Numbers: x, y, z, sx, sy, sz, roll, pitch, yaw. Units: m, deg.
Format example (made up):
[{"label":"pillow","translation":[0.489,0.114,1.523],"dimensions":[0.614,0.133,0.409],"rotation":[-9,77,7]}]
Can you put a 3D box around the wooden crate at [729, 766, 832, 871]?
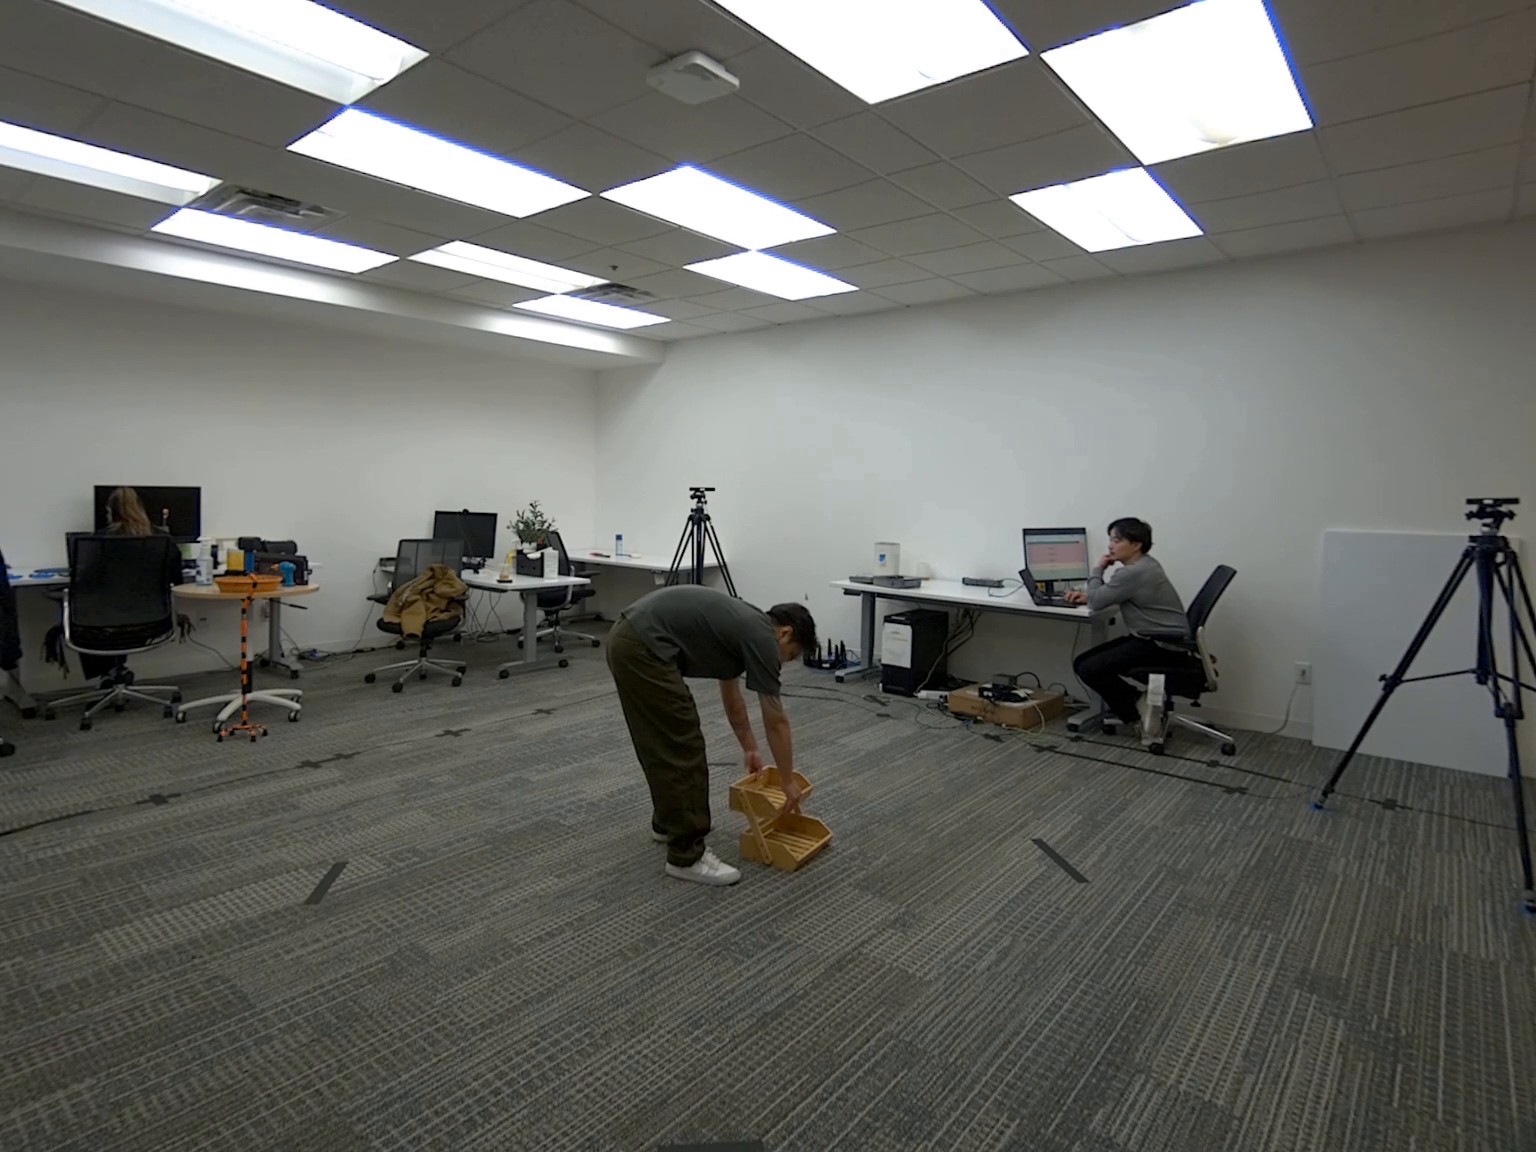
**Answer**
[{"label":"wooden crate","translation":[0.050,0.921,3.283],"dimensions":[0.311,0.272,0.316],"rotation":[3,4,32]}]
